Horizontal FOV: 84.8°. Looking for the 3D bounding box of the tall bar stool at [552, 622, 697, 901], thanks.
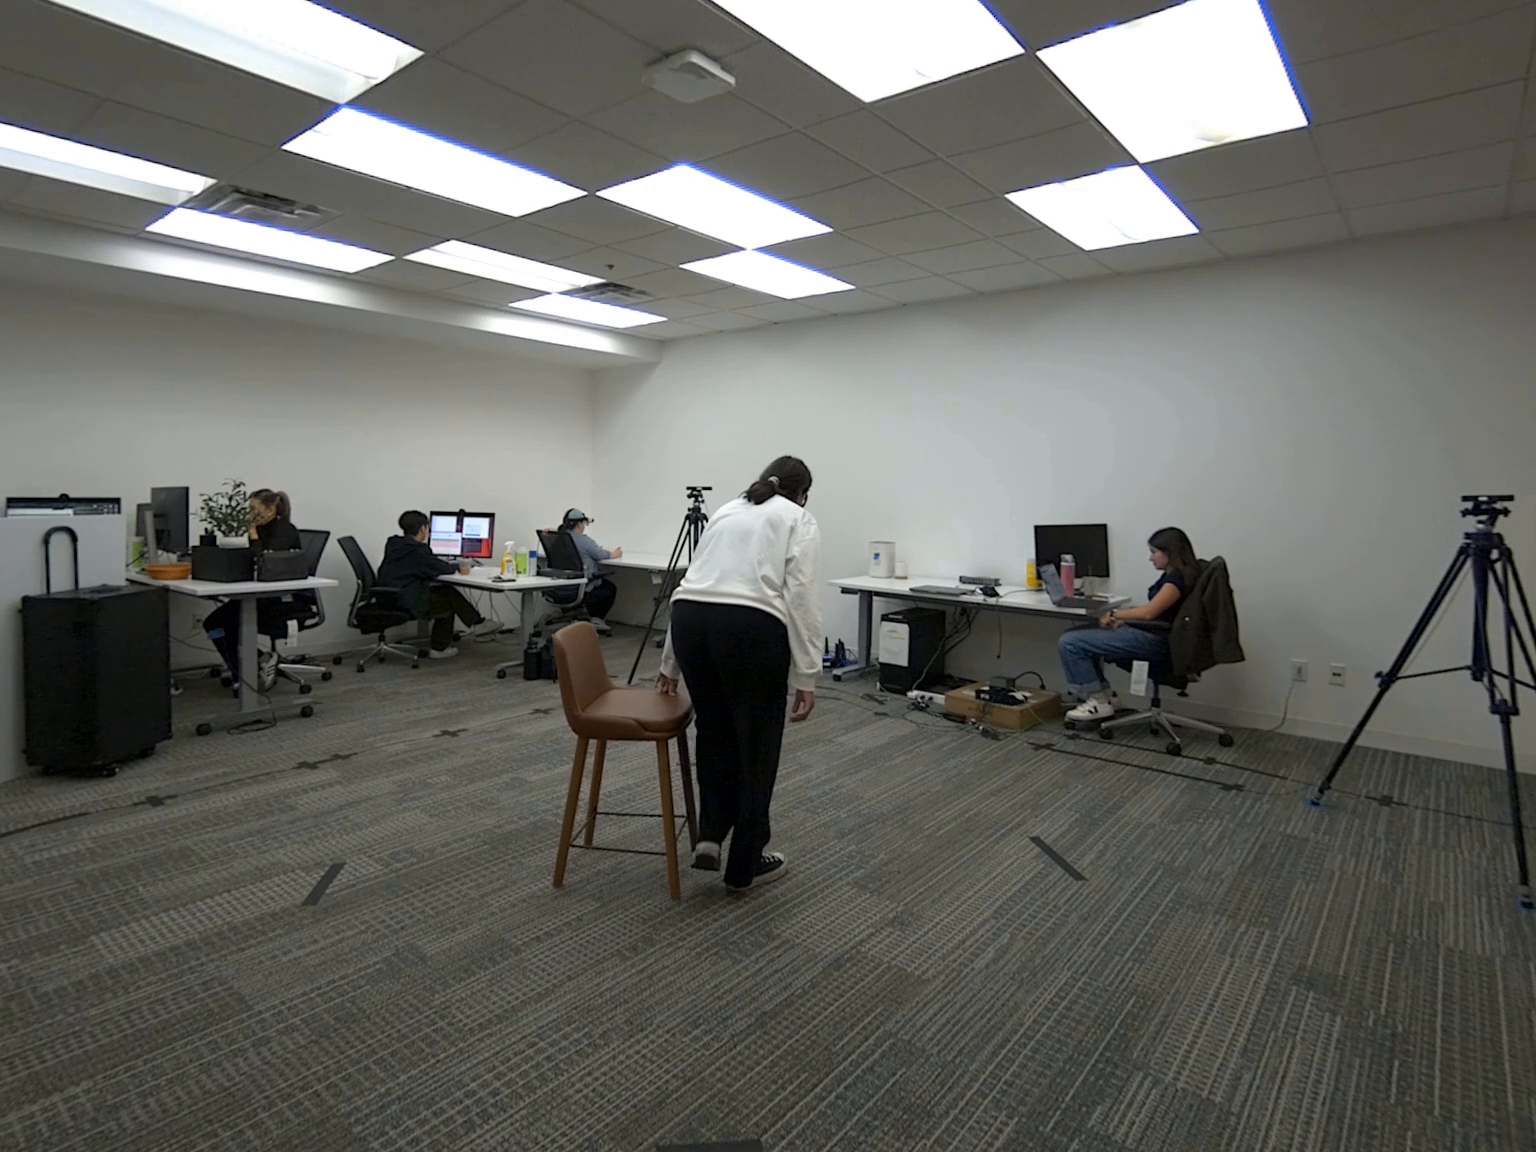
[{"bbox_3d":[-0.506,0.630,3.072,0.472,0.888,0.453,0,3,8],"label":"tall bar stool"}]
